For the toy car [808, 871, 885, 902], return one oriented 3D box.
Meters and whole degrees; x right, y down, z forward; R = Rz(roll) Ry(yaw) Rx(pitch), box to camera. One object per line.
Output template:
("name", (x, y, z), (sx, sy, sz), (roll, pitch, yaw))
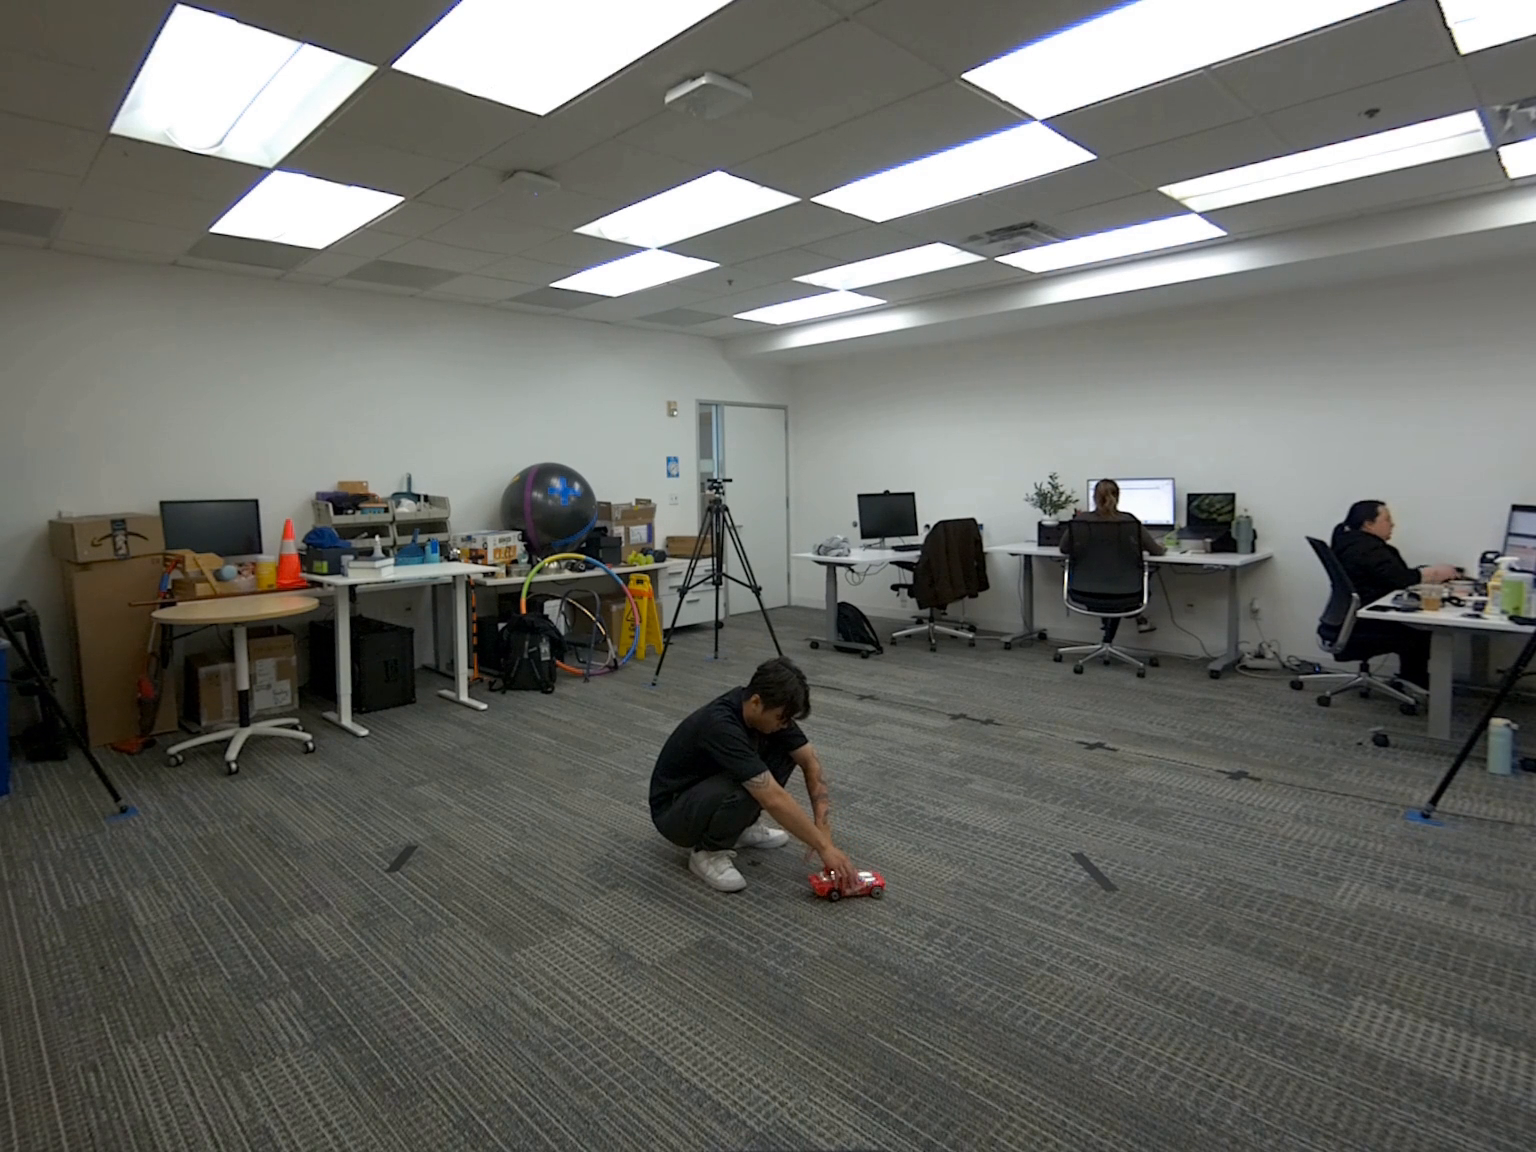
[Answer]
("toy car", (0.259, 1.031, 2.869), (0.252, 0.083, 0.132), (9, 4, -8))
